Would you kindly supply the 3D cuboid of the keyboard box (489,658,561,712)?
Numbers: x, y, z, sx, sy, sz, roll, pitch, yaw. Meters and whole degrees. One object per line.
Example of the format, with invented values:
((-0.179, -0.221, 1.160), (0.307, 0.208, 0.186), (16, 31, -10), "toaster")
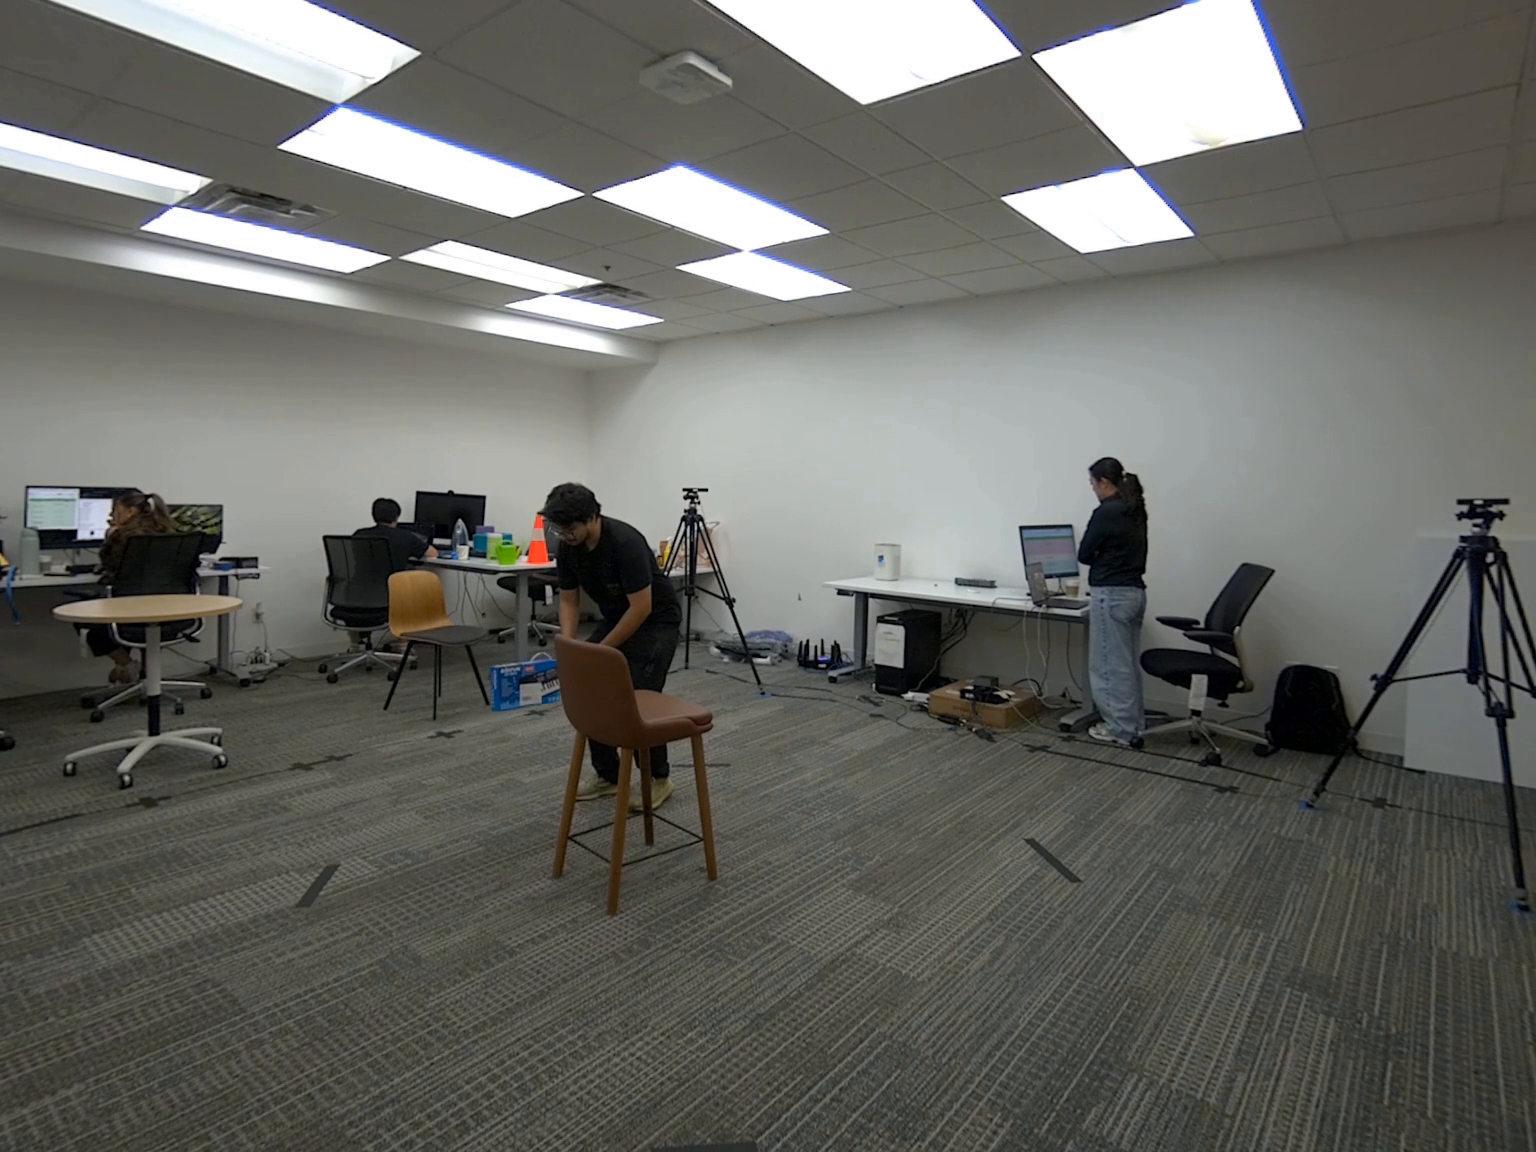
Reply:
((-0.937, 0.435, 3.467), (0.061, 0.176, 0.423), (-4, -1, 44), "keyboard box")
